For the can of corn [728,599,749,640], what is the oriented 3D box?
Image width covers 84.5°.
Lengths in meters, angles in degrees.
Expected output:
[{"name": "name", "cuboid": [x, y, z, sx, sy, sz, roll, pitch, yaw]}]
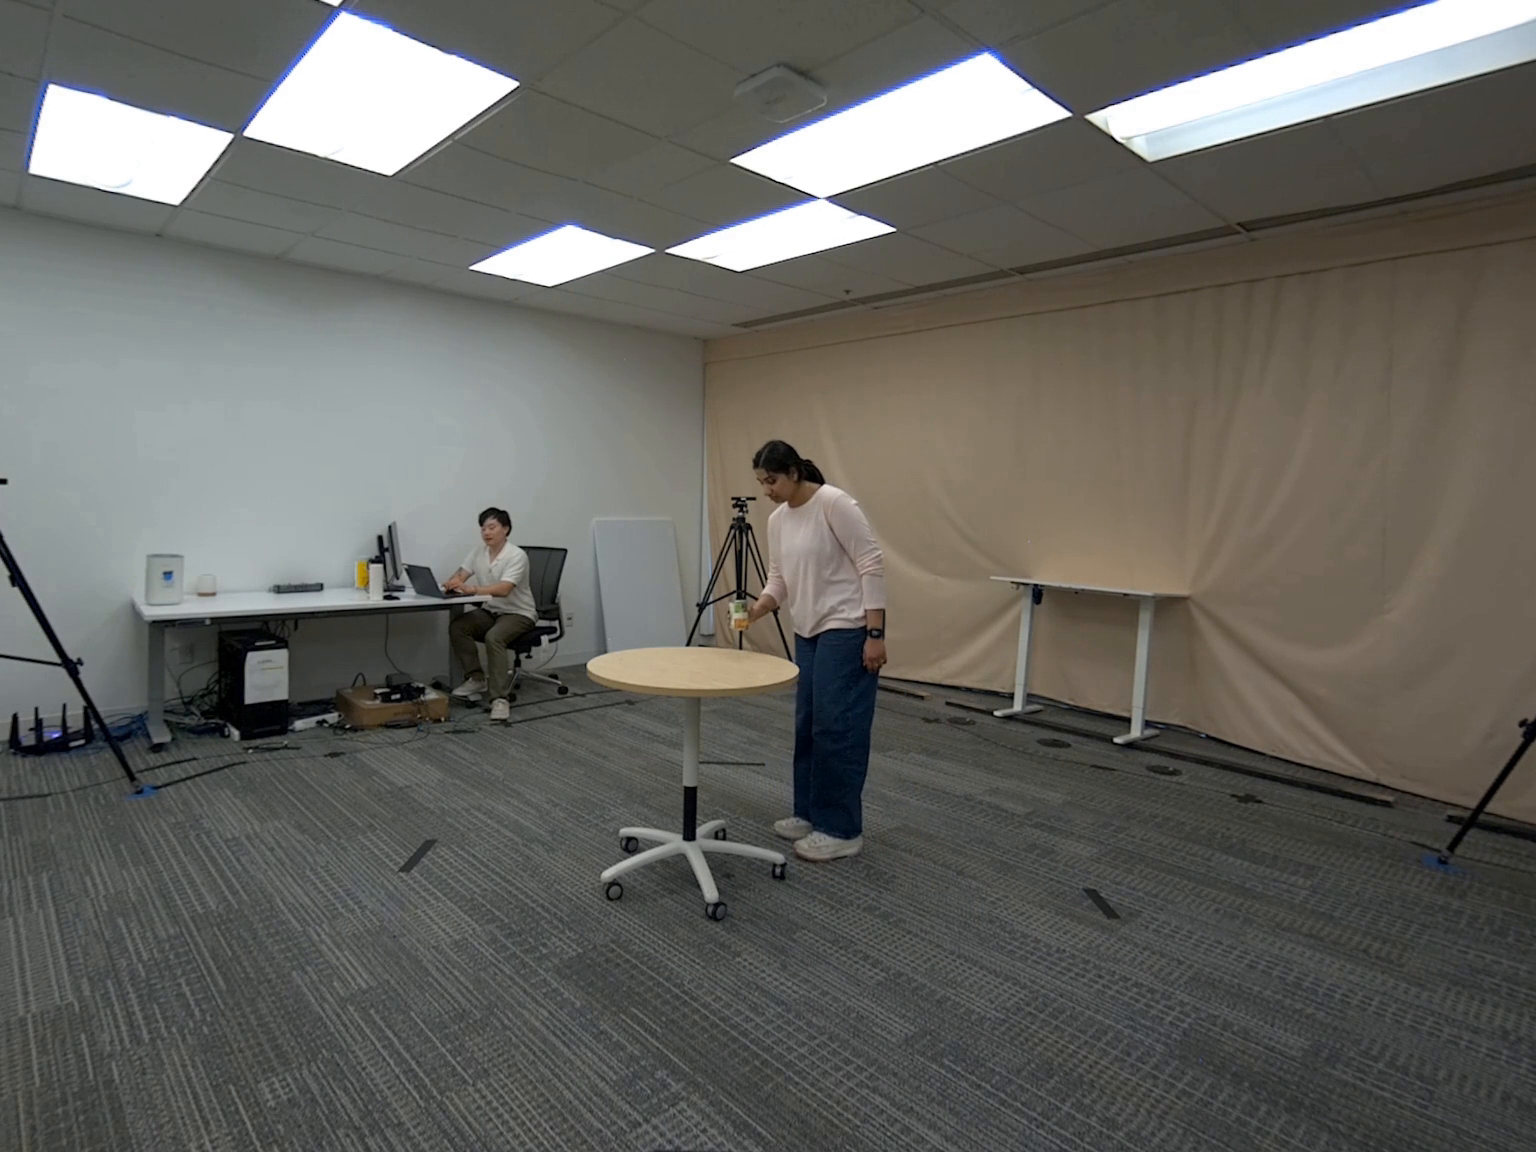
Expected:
[{"name": "can of corn", "cuboid": [-0.124, 0.156, 3.321, 0.074, 0.111, 0.074, 2, 2, -1]}]
